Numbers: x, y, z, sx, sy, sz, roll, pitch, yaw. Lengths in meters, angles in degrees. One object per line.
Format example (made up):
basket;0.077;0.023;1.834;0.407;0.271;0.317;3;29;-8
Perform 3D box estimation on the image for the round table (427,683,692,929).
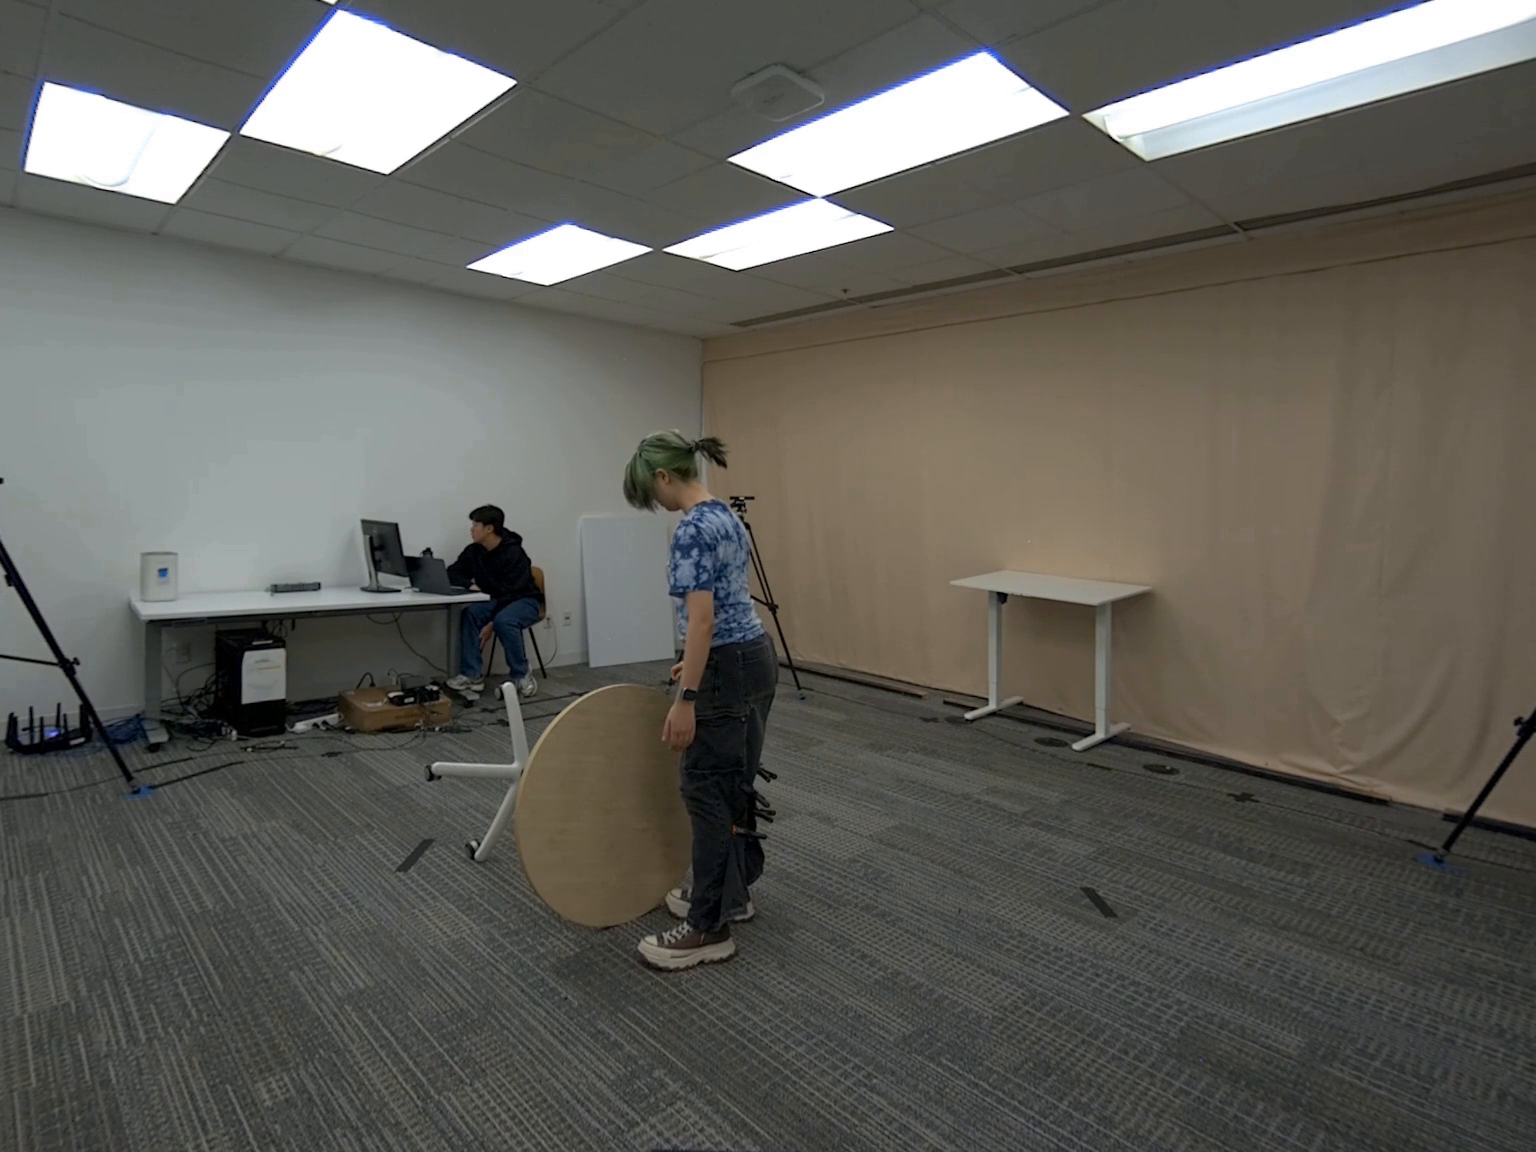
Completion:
round table;-0.758;0.758;3.059;0.746;0.765;0.811;-3;-1;-44
